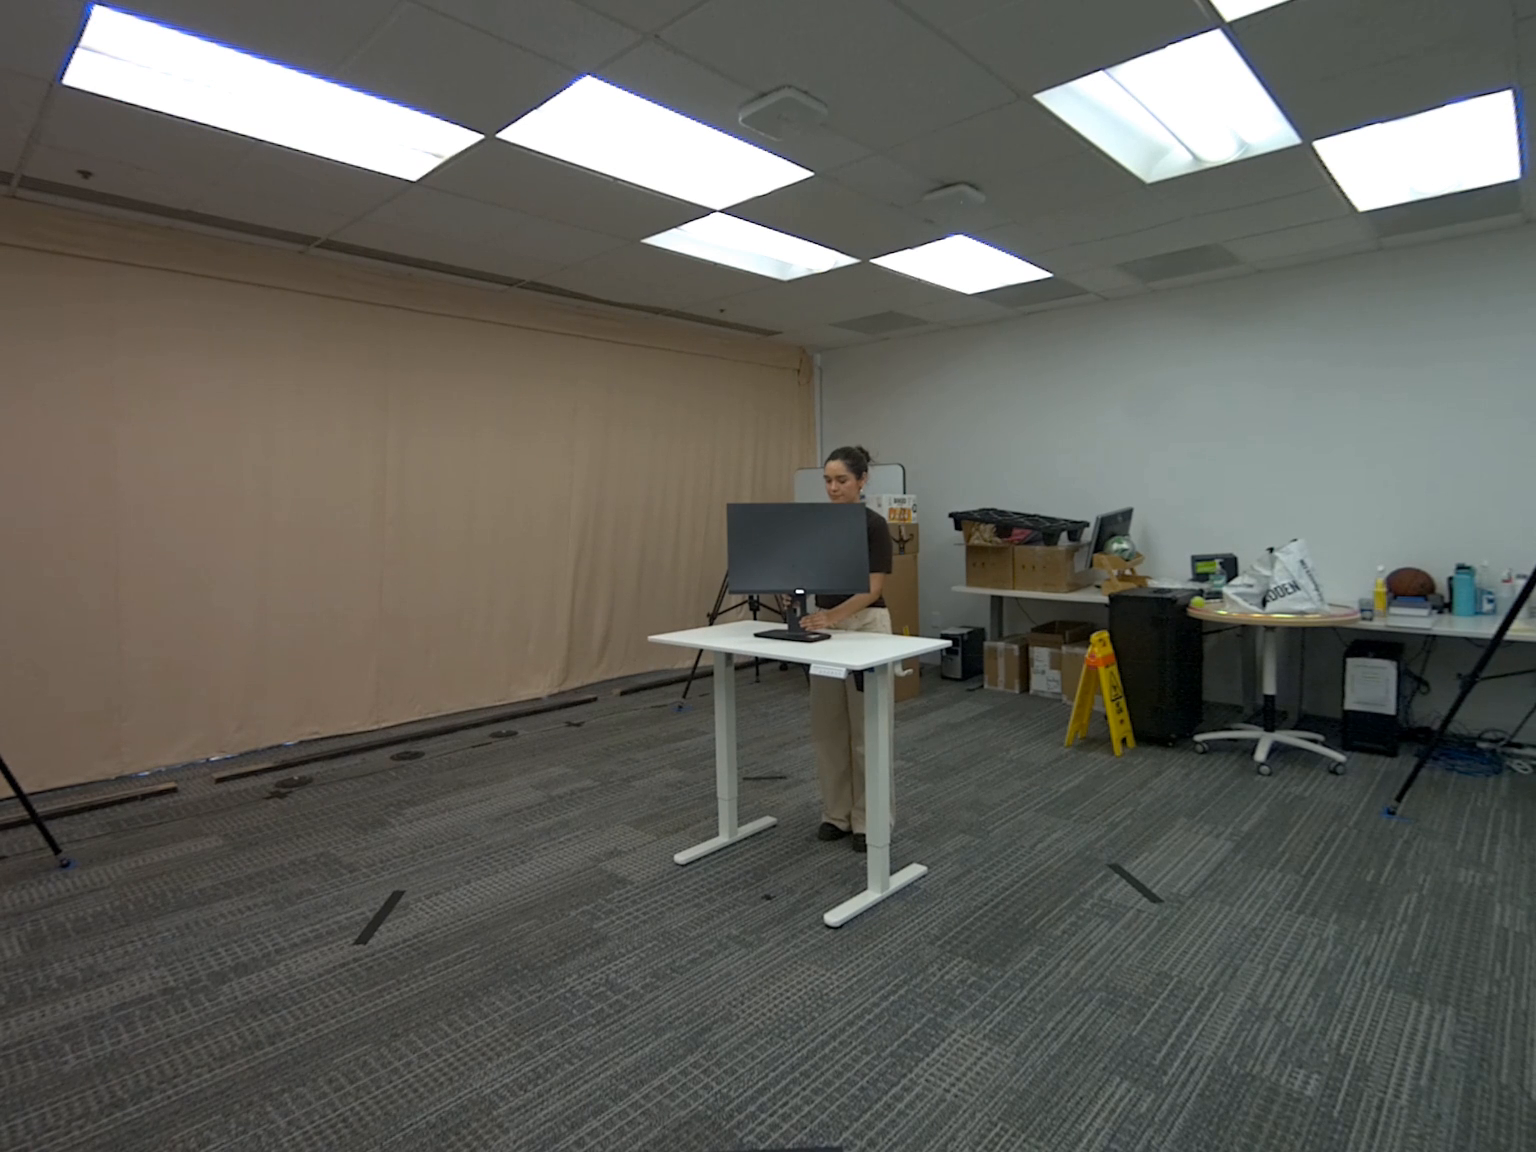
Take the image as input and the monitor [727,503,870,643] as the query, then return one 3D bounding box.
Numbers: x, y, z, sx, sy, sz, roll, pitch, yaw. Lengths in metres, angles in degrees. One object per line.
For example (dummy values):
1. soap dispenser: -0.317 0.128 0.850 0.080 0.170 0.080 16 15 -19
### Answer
1. monitor: 0.111 -0.017 3.209 0.535 0.523 0.188 0 -2 -6
